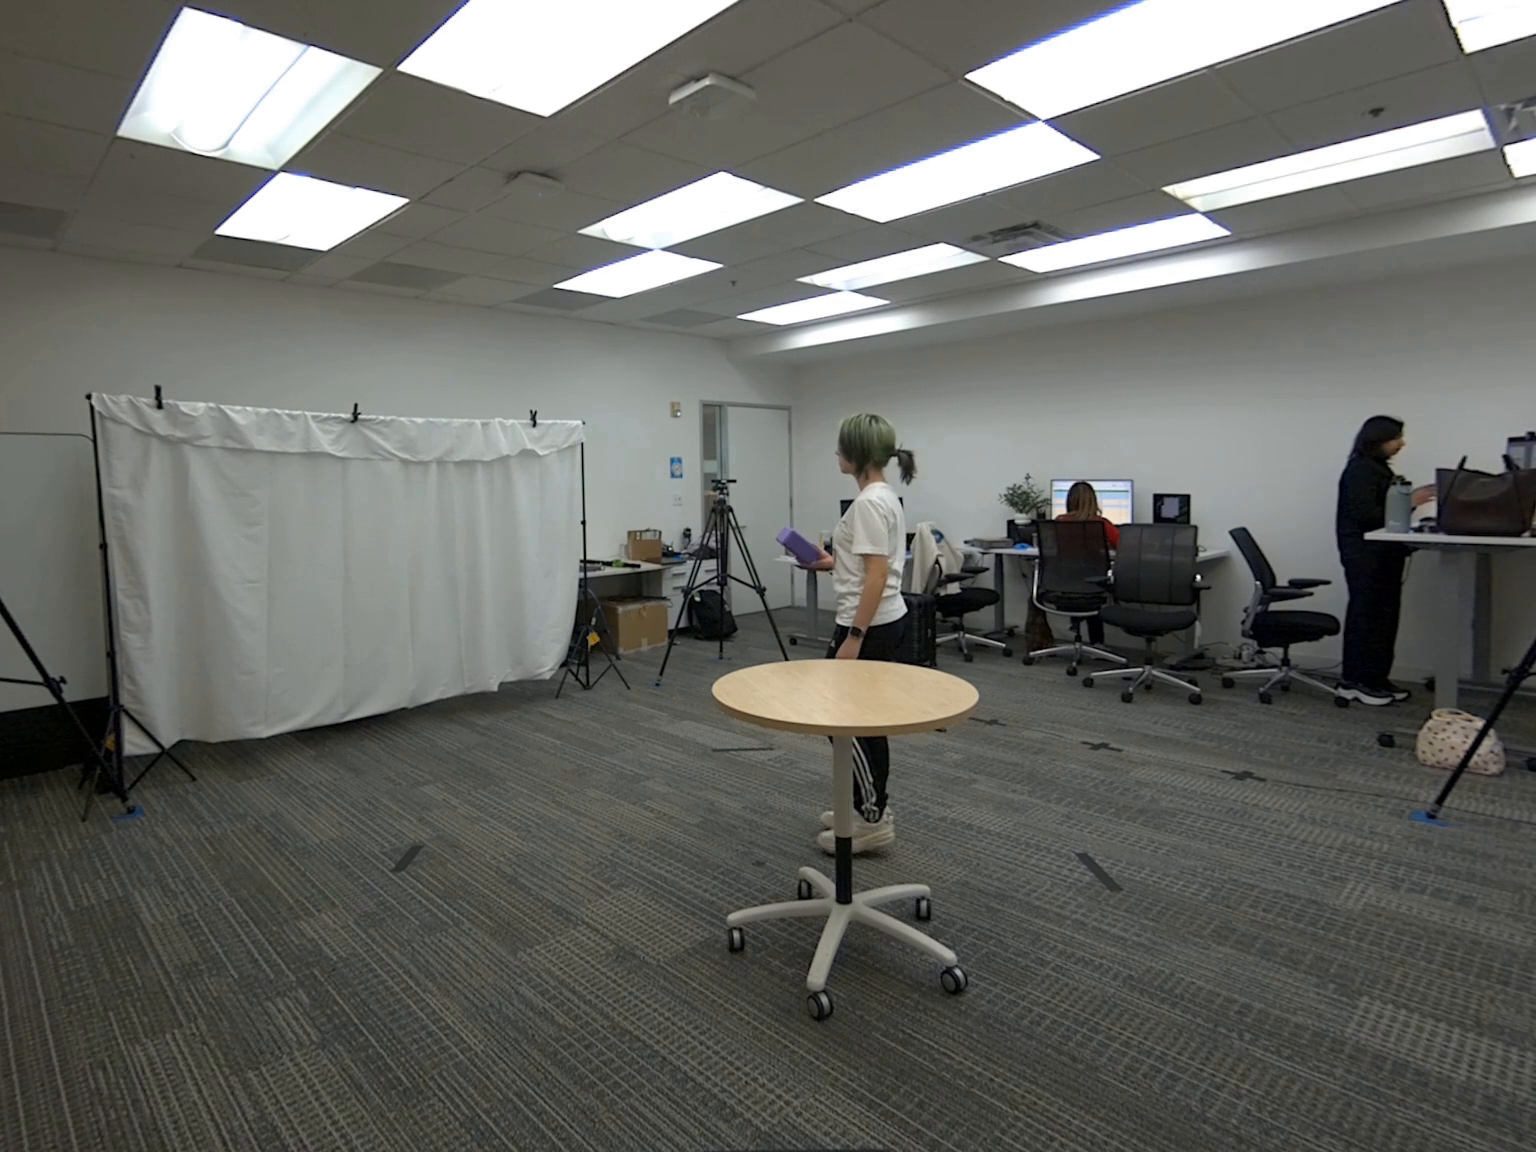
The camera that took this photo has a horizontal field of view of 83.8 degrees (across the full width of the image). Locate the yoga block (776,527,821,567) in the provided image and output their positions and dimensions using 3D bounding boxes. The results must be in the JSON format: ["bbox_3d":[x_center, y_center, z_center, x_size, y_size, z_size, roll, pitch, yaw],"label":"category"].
[{"bbox_3d":[0.123,-0.133,3.579,0.148,0.076,0.231,41,2,-7],"label":"yoga block"}]
